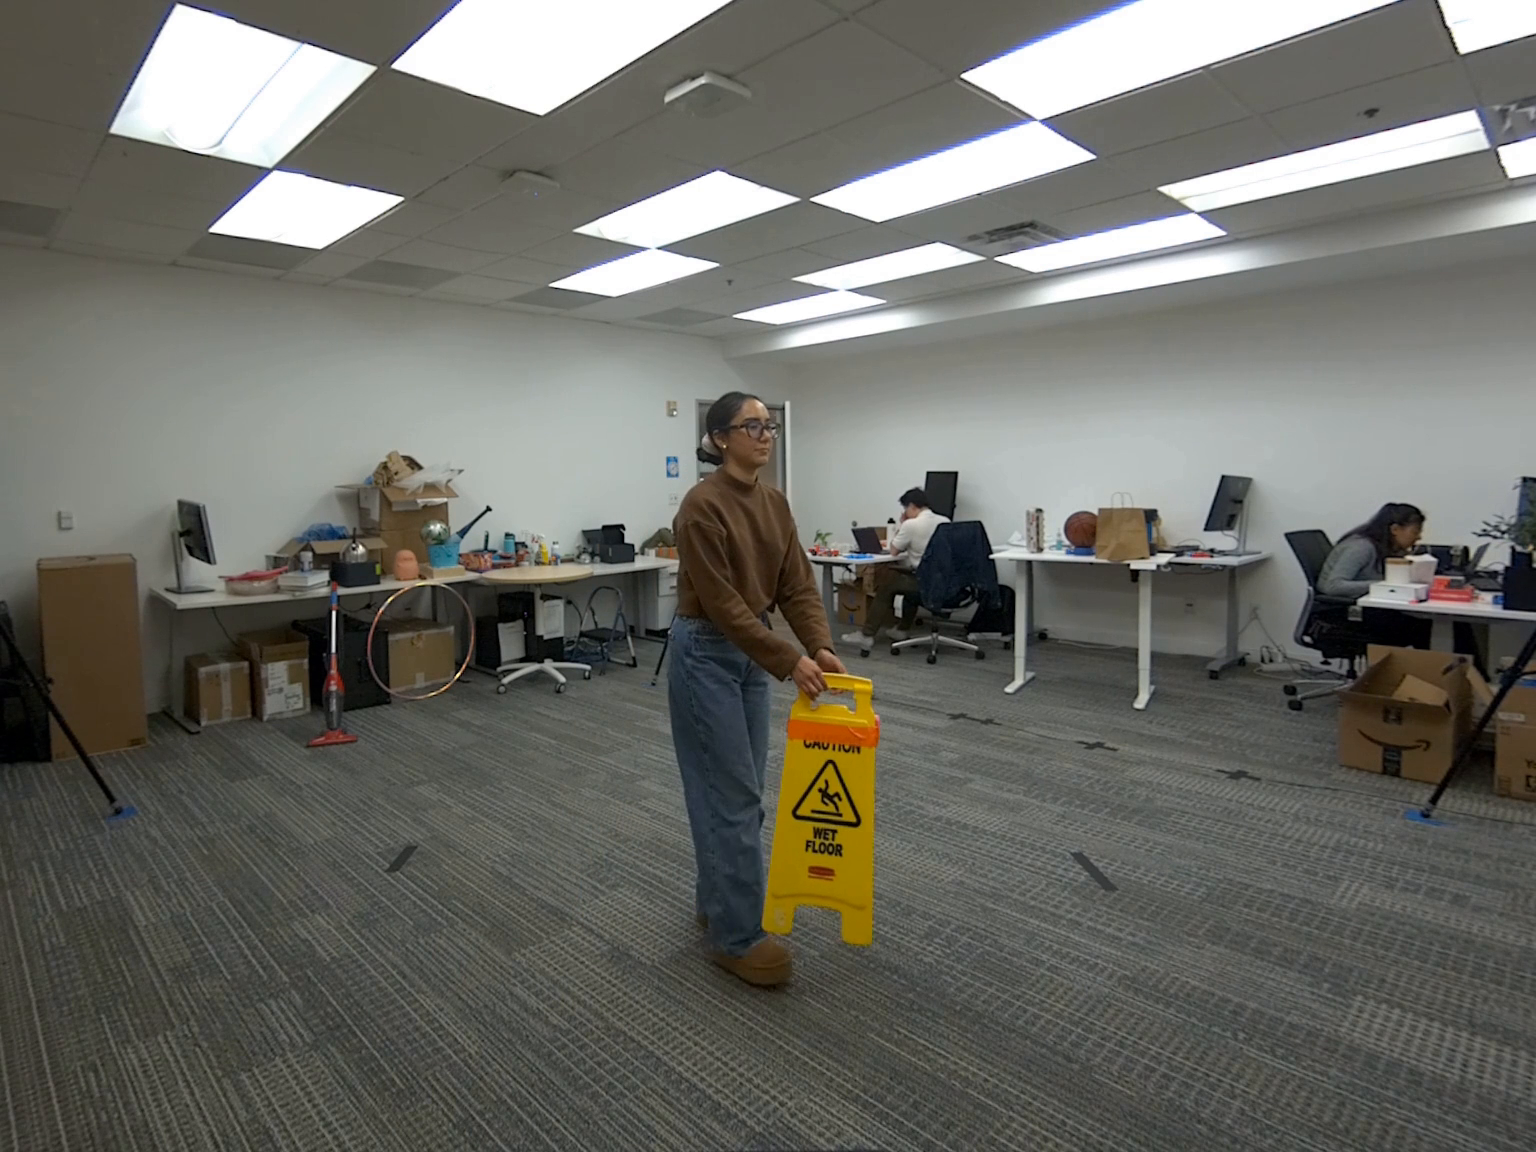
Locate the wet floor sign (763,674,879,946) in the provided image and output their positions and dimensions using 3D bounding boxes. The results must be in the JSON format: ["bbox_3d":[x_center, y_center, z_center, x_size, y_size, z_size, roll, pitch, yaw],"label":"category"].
[{"bbox_3d":[0.167,0.593,2.291,0.283,0.646,0.289,4,0,2],"label":"wet floor sign"}]
